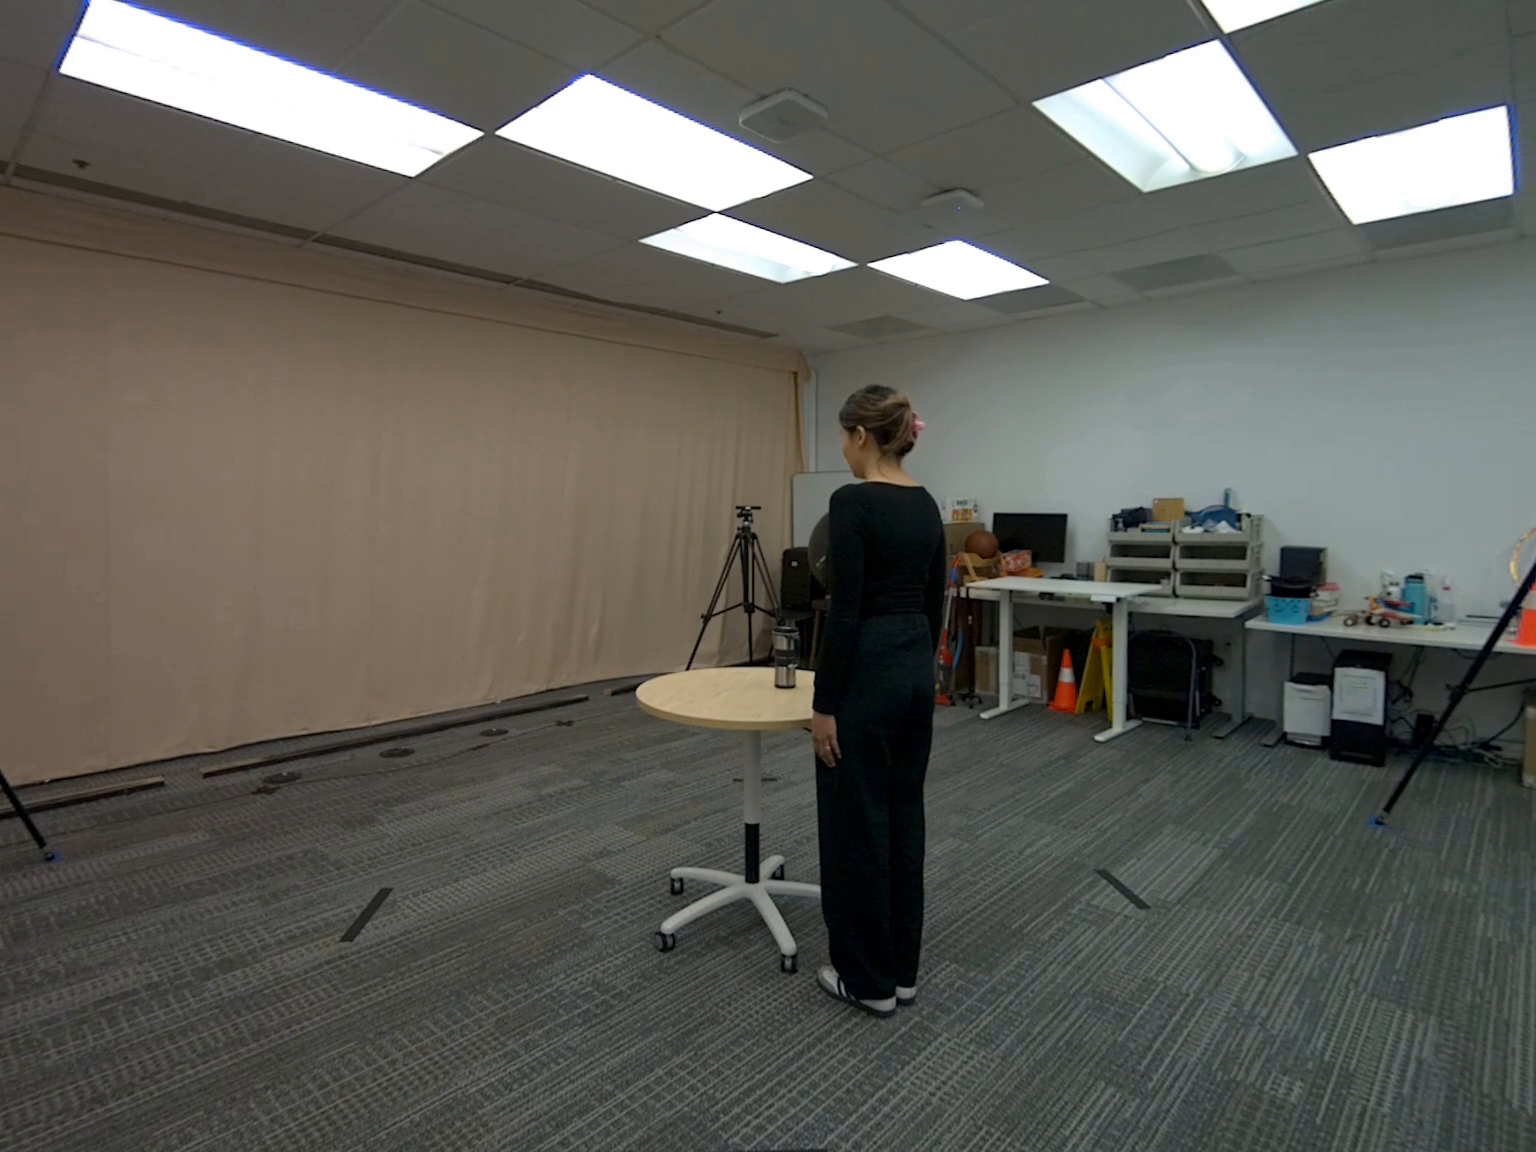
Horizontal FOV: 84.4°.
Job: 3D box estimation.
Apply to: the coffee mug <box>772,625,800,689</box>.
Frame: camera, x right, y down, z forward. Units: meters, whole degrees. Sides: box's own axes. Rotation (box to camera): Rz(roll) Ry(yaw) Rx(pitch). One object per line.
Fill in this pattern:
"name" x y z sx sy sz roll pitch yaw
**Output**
"coffee mug" 0.049 0.278 2.812 0.090 0.202 0.118 7 5 31
